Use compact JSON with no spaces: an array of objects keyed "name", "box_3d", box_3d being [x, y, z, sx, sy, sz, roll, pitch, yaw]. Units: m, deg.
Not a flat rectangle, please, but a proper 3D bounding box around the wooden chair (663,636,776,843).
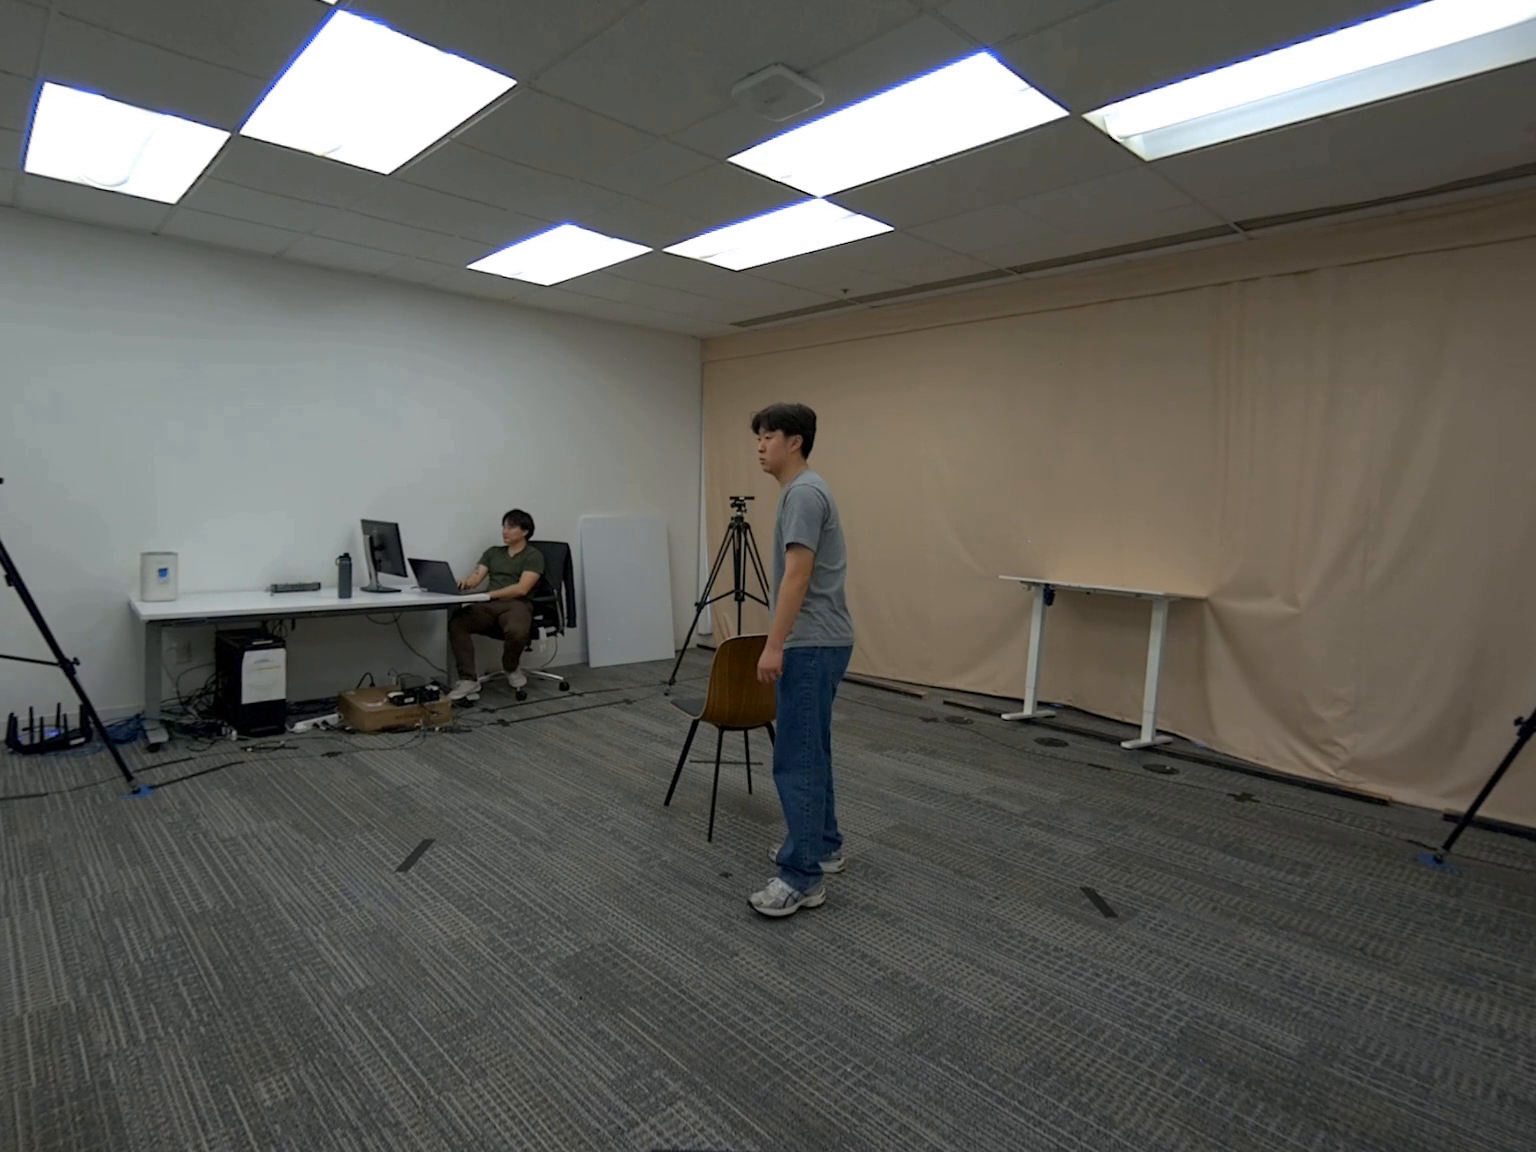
[{"name":"wooden chair","box_3d":[-0.160,0.626,3.679,0.469,0.873,0.536,0,8,-29]}]
